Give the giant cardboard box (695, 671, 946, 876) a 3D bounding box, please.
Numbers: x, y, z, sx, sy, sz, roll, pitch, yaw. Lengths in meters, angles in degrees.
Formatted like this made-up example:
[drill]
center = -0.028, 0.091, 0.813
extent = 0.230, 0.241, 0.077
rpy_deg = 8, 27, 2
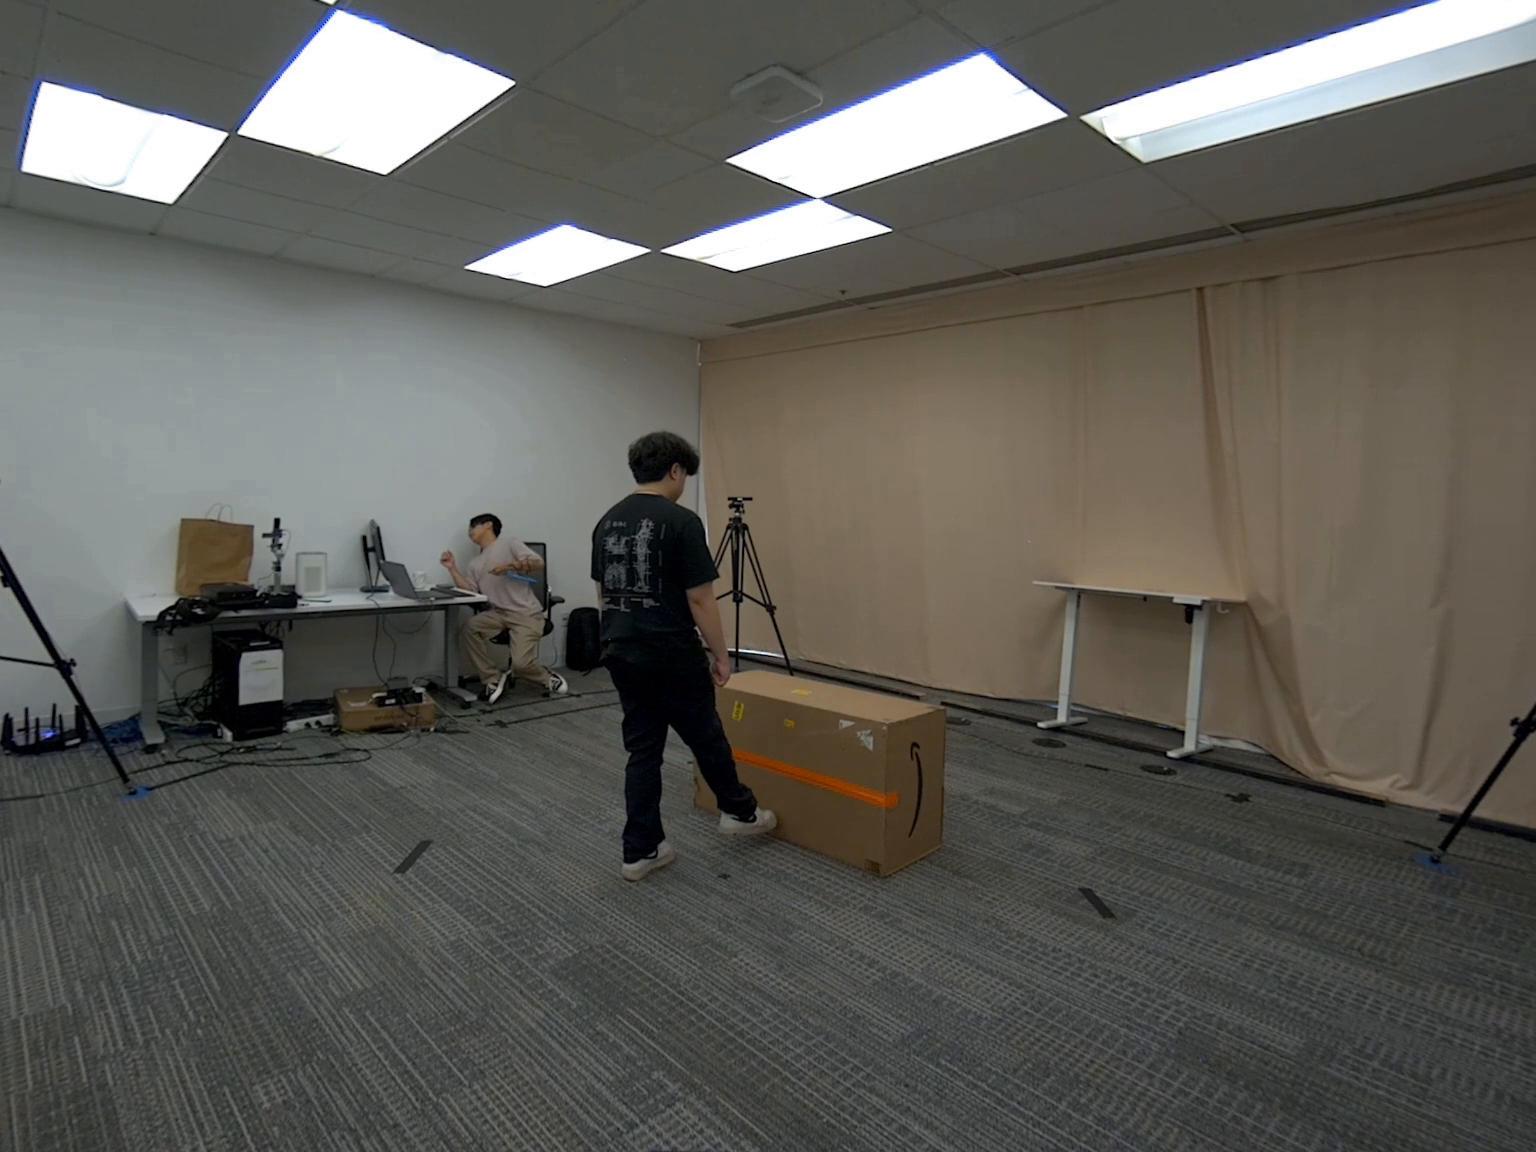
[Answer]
[giant cardboard box]
center = 0.183, 0.786, 3.605
extent = 1.053, 0.582, 0.437
rpy_deg = 5, 5, 42
